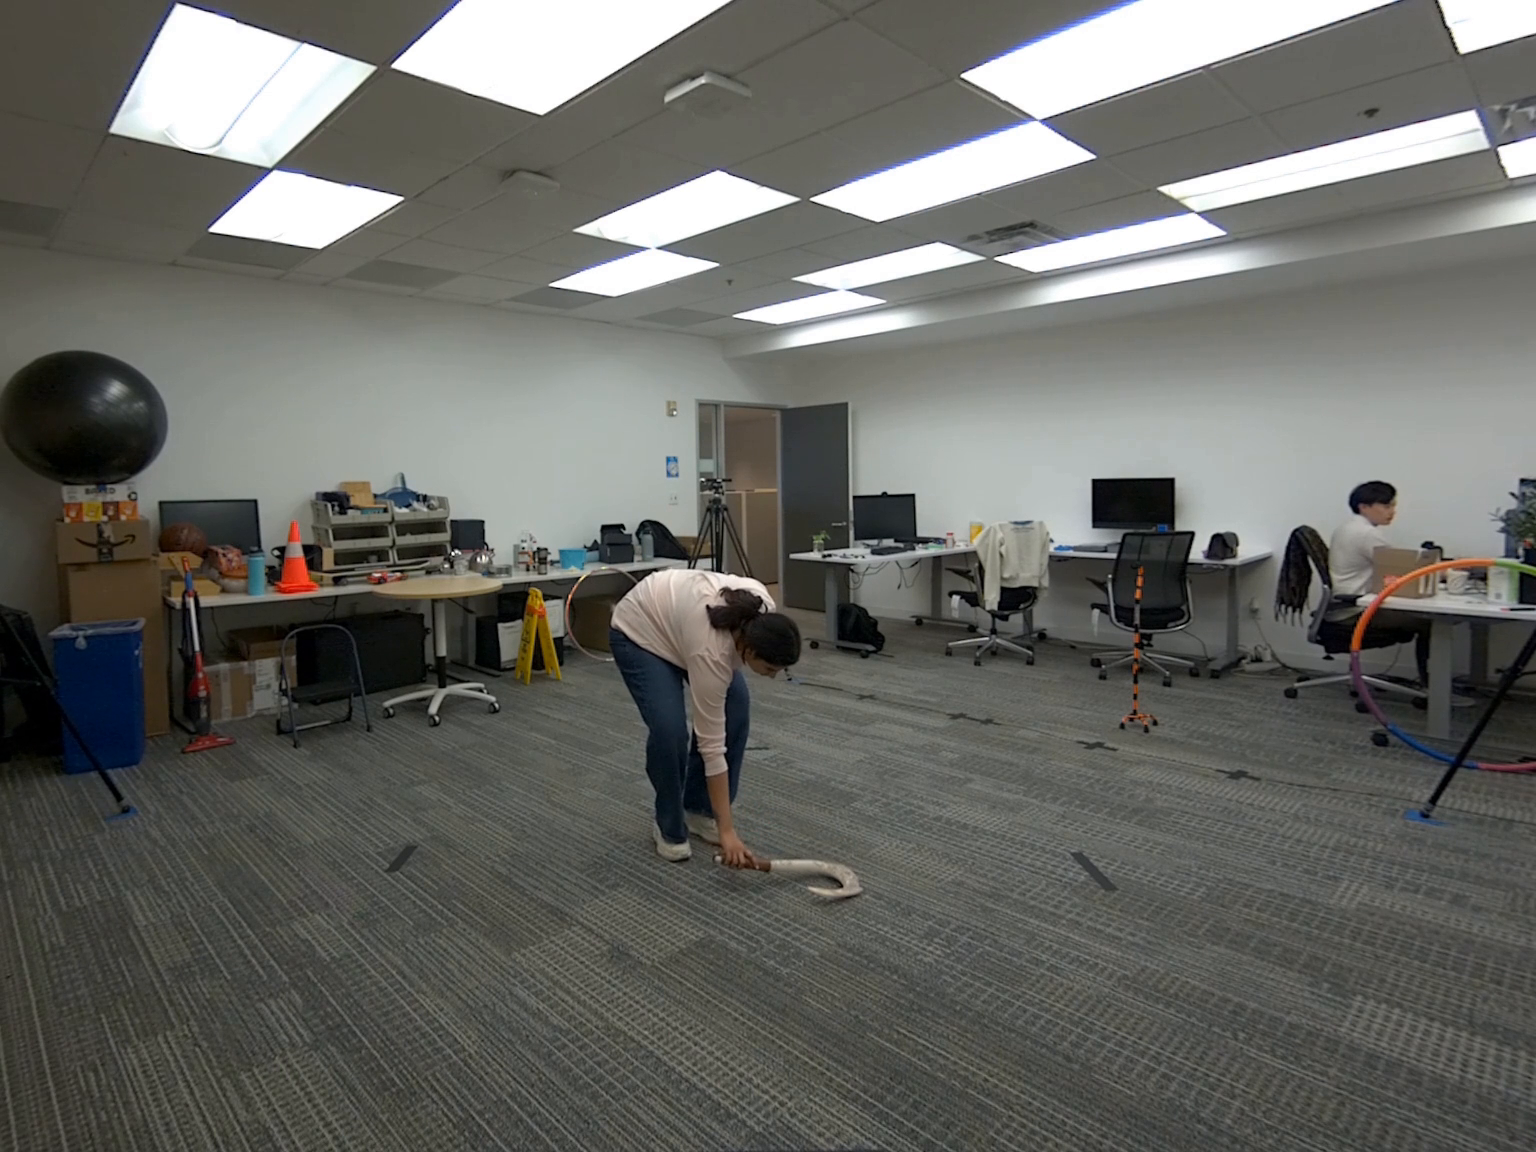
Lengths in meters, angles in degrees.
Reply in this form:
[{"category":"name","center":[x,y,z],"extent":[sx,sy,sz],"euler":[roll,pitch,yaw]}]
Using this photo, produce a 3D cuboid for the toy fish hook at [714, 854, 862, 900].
[{"category":"toy fish hook","center":[0.061,1.006,2.894],"extent":[0.504,0.048,0.226],"euler":[8,3,-5]}]
